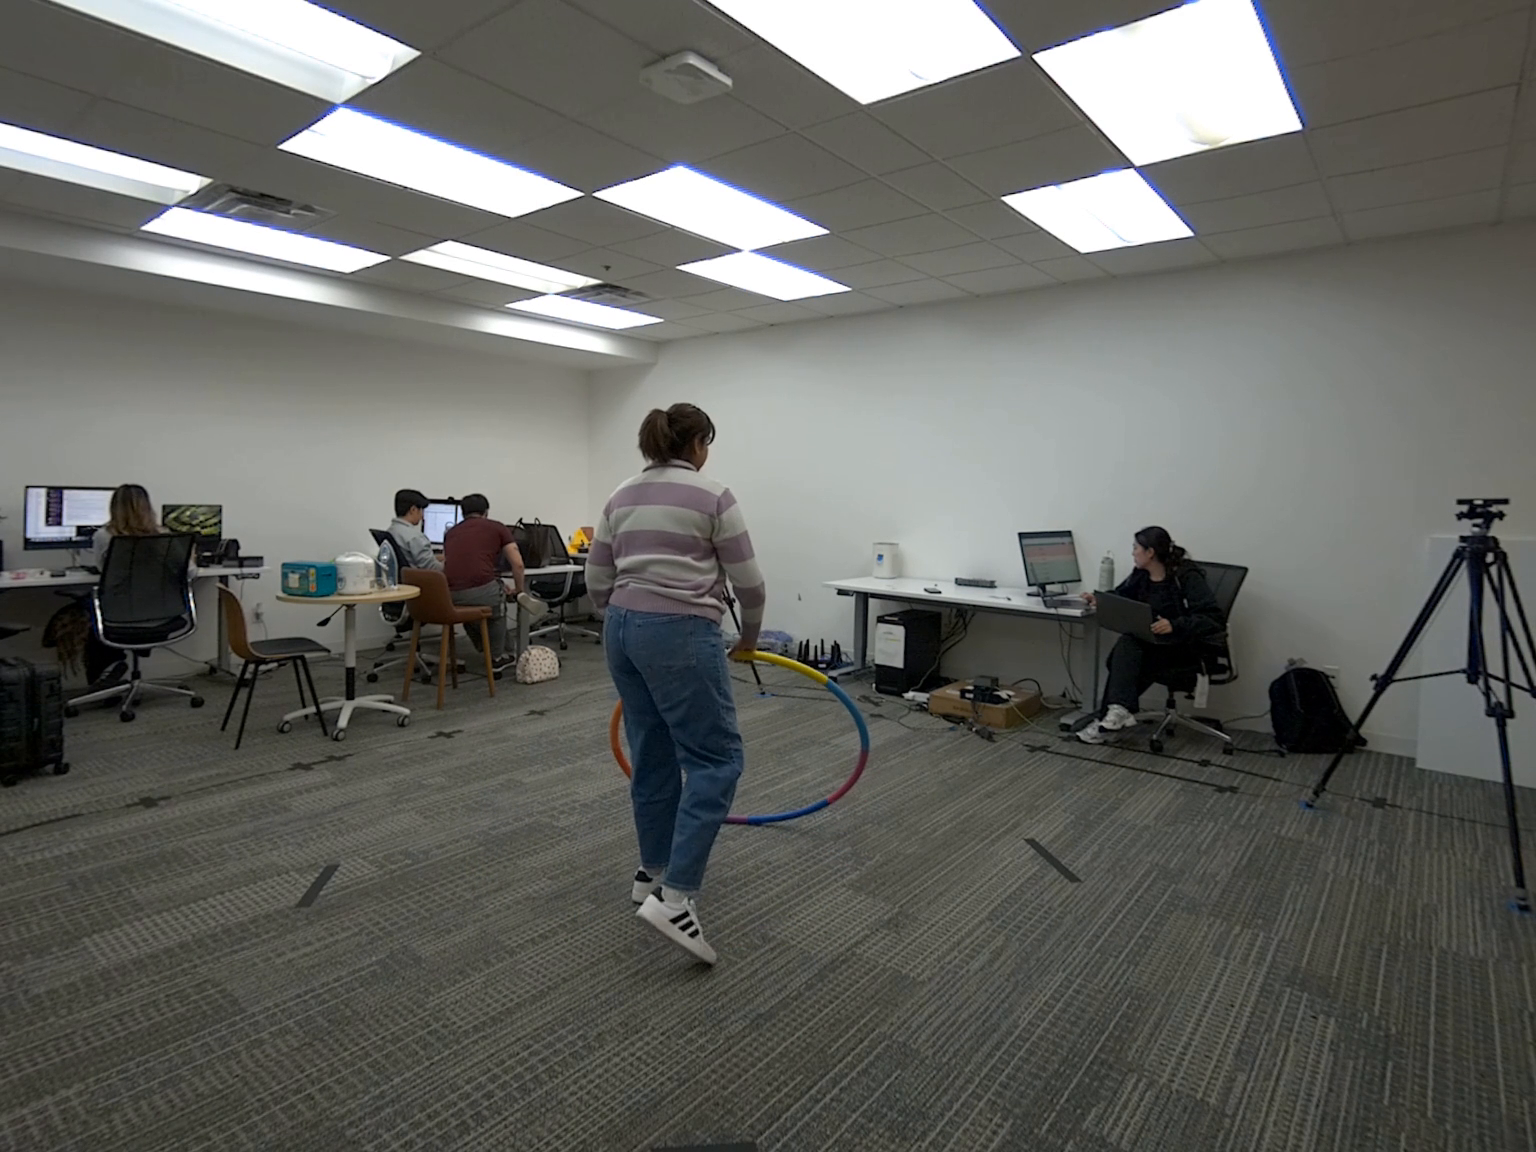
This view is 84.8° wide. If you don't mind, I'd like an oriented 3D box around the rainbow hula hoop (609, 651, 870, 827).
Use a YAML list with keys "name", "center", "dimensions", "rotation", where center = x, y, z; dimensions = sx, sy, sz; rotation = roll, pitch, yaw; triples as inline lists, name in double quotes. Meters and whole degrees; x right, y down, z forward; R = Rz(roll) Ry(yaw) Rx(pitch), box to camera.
- name: "rainbow hula hoop"
  center: [-0.127, 0.651, 3.273]
  dimensions: [0.984, 0.951, 0.036]
  rotation: [2, 38, 4]
